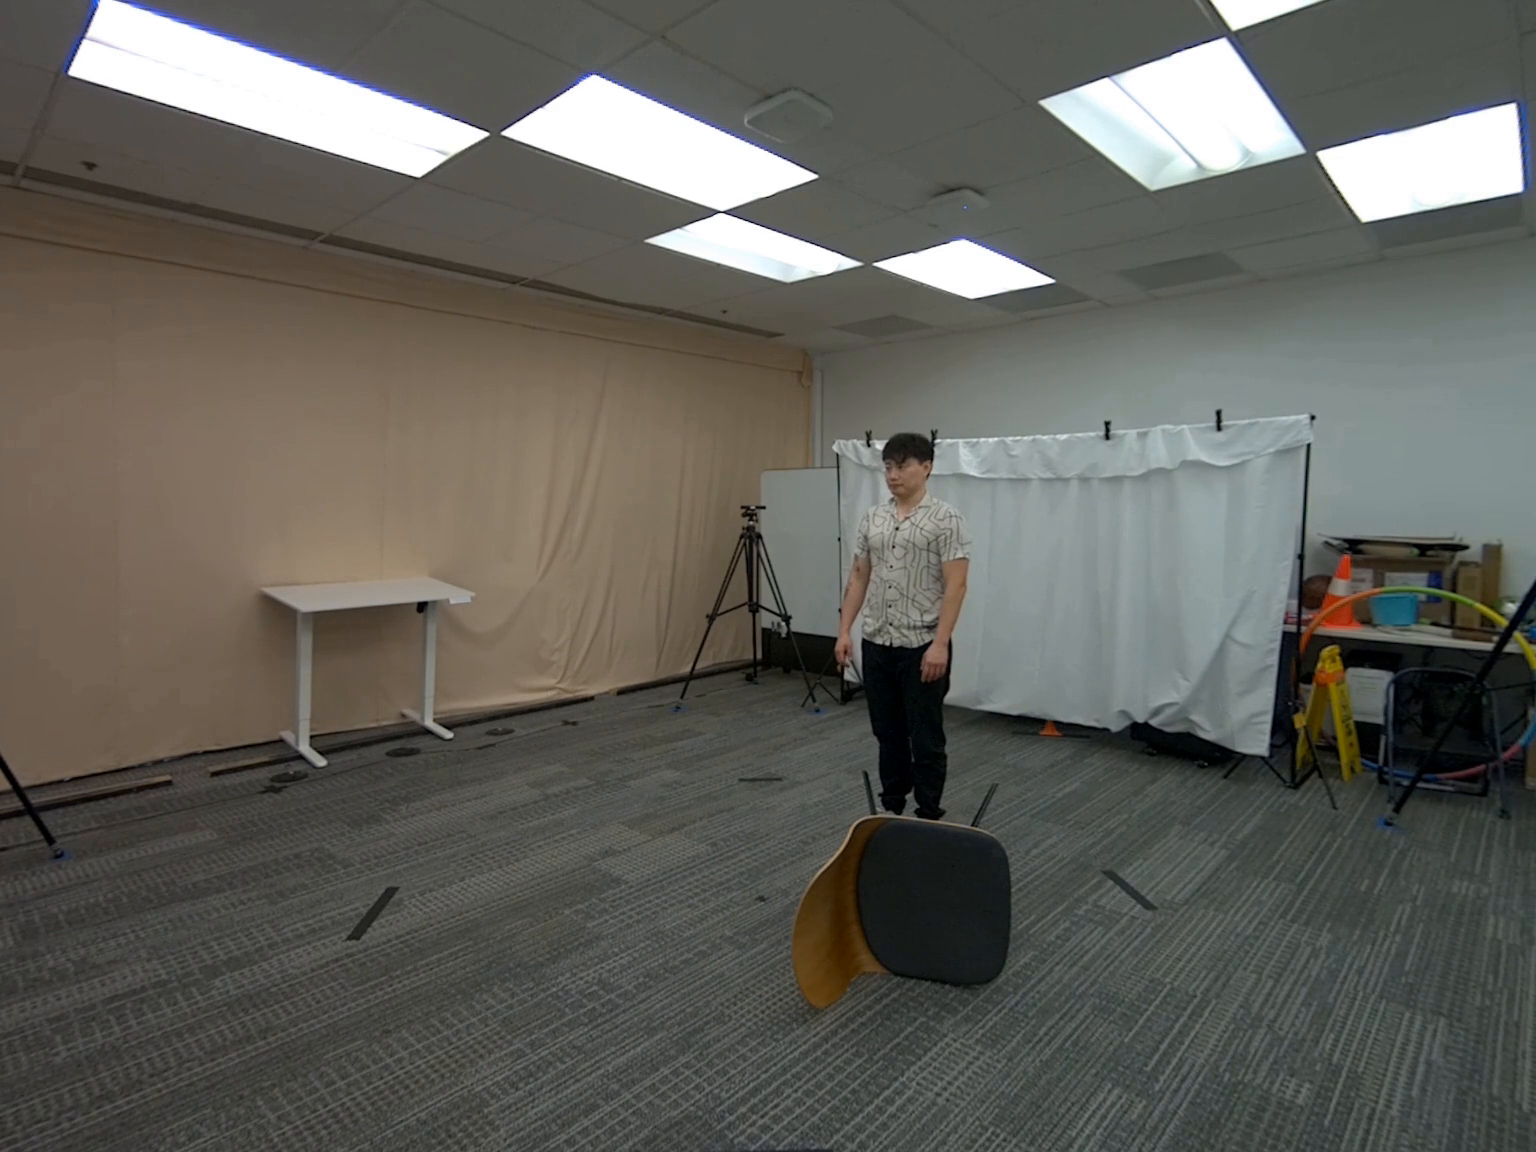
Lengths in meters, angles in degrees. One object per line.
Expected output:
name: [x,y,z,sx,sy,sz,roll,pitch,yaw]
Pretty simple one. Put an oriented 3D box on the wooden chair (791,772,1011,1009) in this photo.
wooden chair: [0.459,0.953,2.516,0.535,0.477,0.859,2,4,20]
